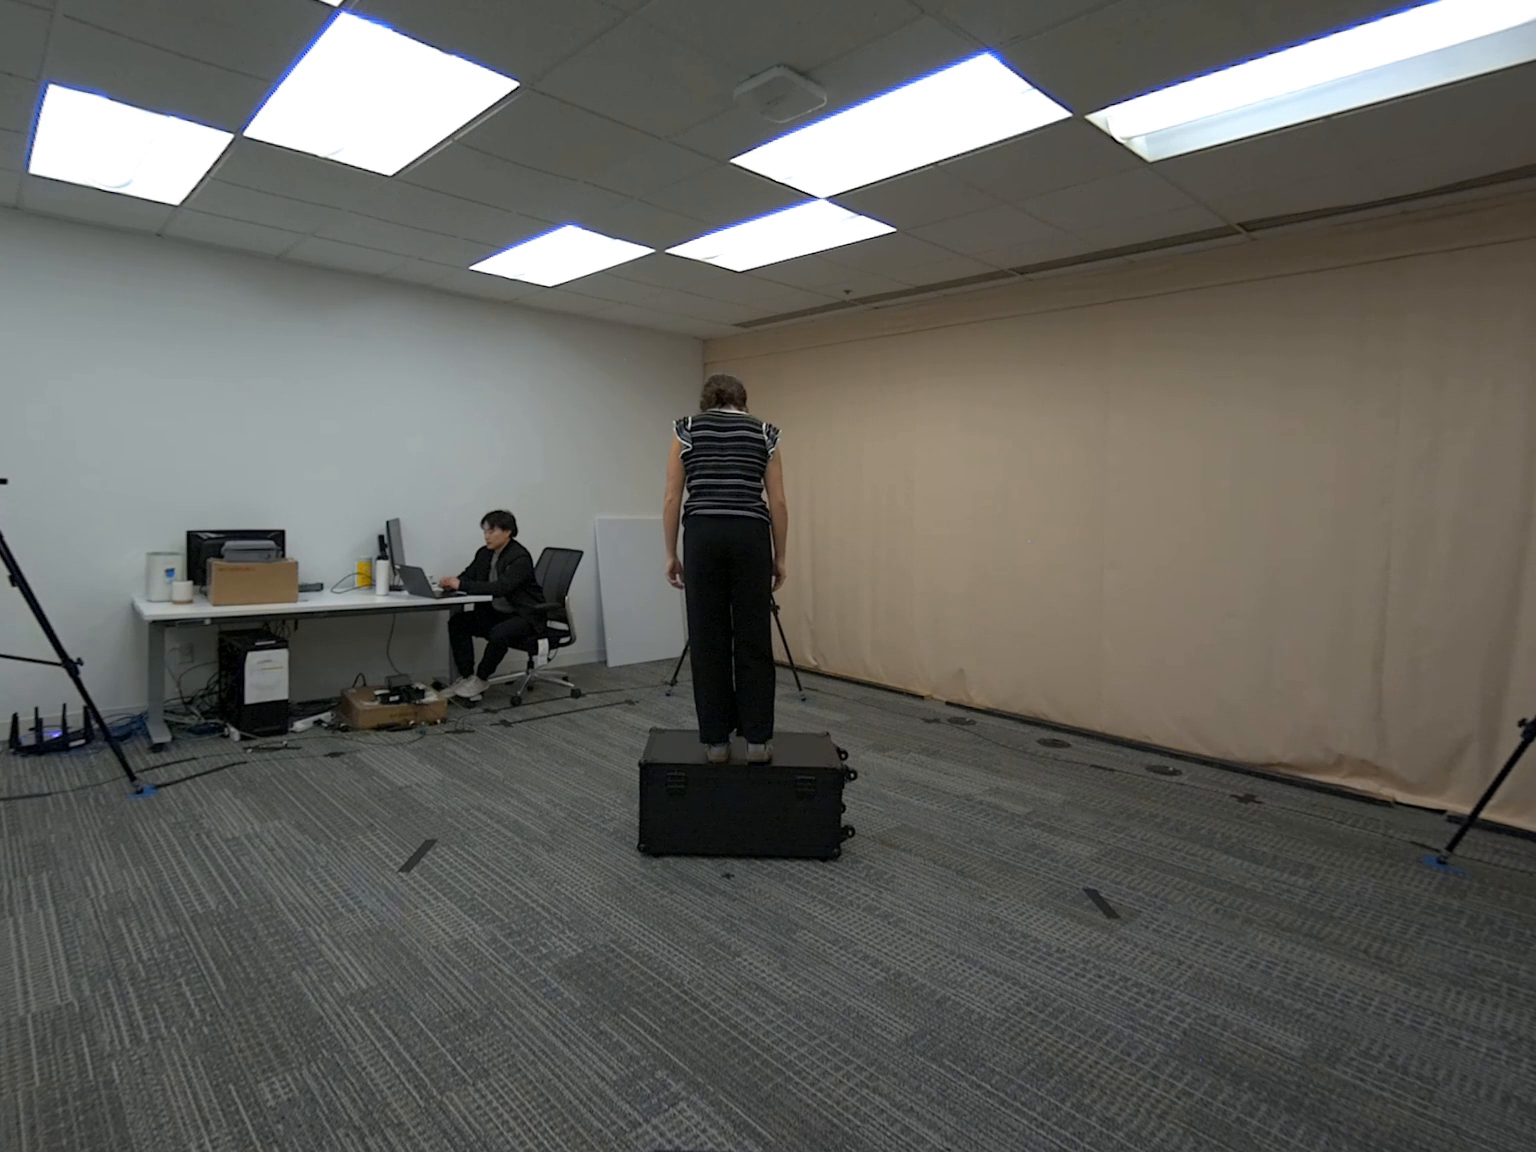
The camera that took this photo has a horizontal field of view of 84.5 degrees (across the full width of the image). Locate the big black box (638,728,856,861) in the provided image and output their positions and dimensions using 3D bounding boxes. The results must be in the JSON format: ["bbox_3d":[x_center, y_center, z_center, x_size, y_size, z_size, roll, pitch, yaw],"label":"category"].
[{"bbox_3d":[-0.092,0.884,3.465,0.861,0.395,0.523,1,5,-1],"label":"big black box"}]
